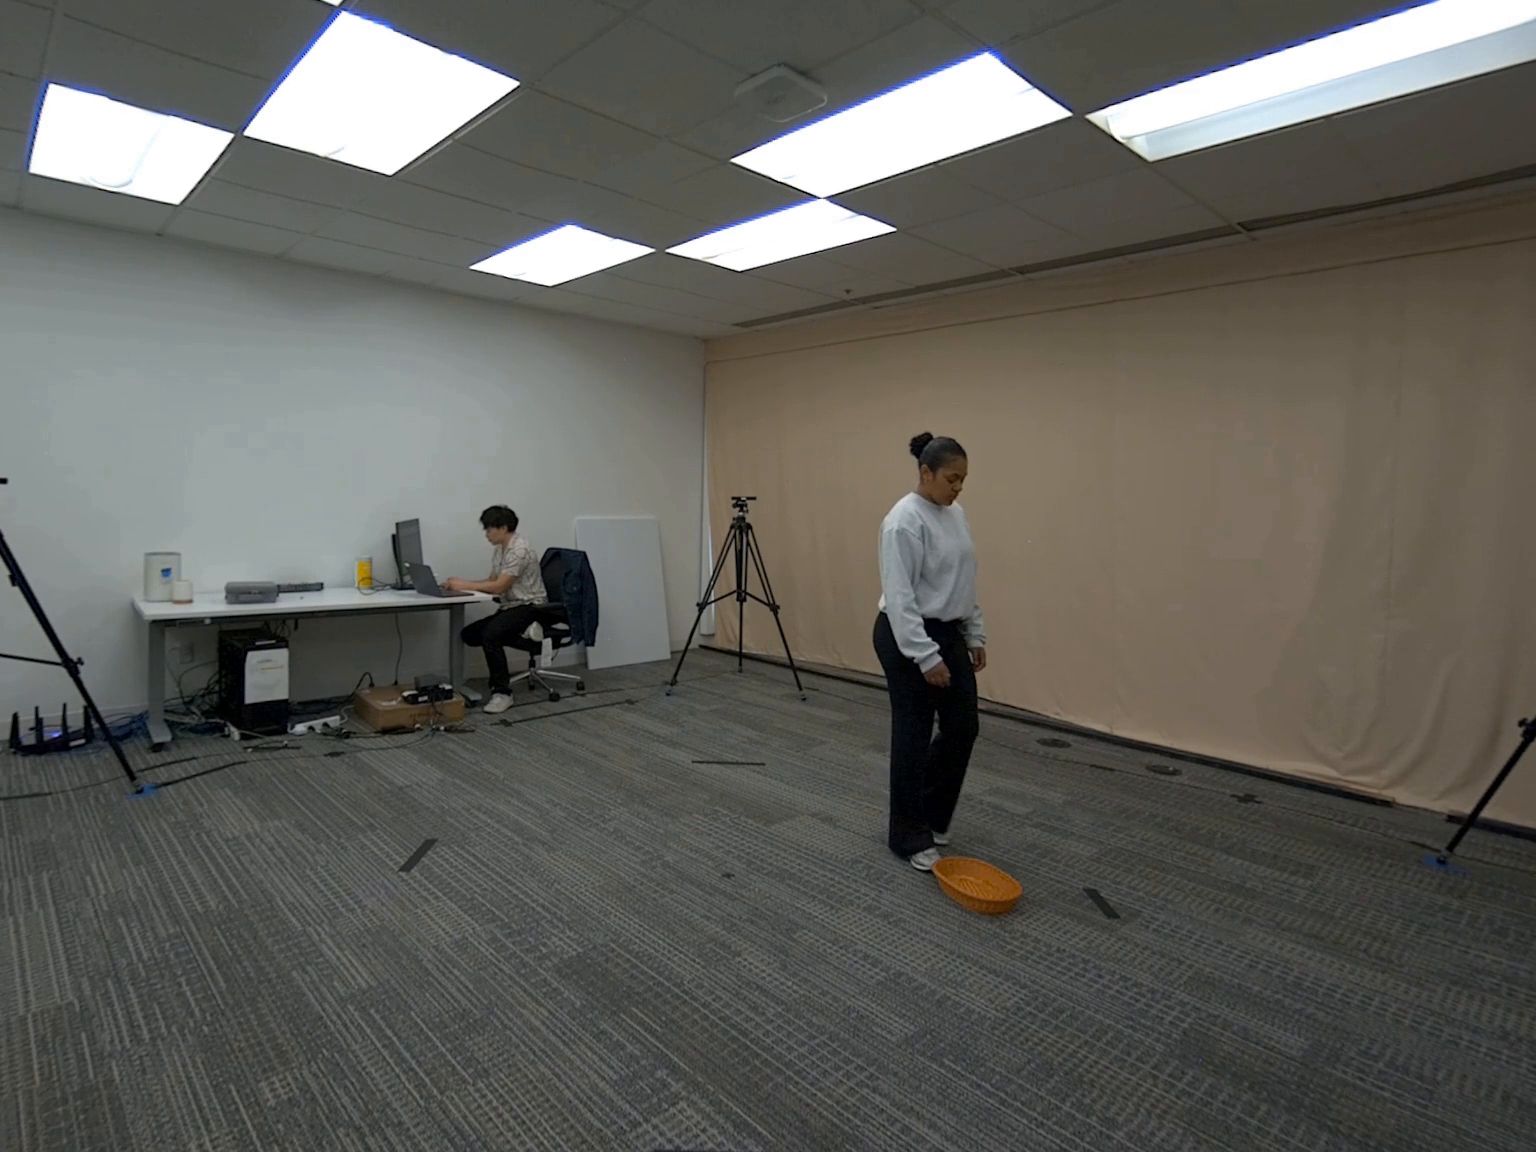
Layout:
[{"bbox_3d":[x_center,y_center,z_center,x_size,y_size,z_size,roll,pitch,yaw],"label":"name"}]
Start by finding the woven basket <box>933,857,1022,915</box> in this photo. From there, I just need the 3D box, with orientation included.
[{"bbox_3d":[0.719,1.102,2.992,0.249,0.073,0.356,-1,5,-18],"label":"woven basket"}]
